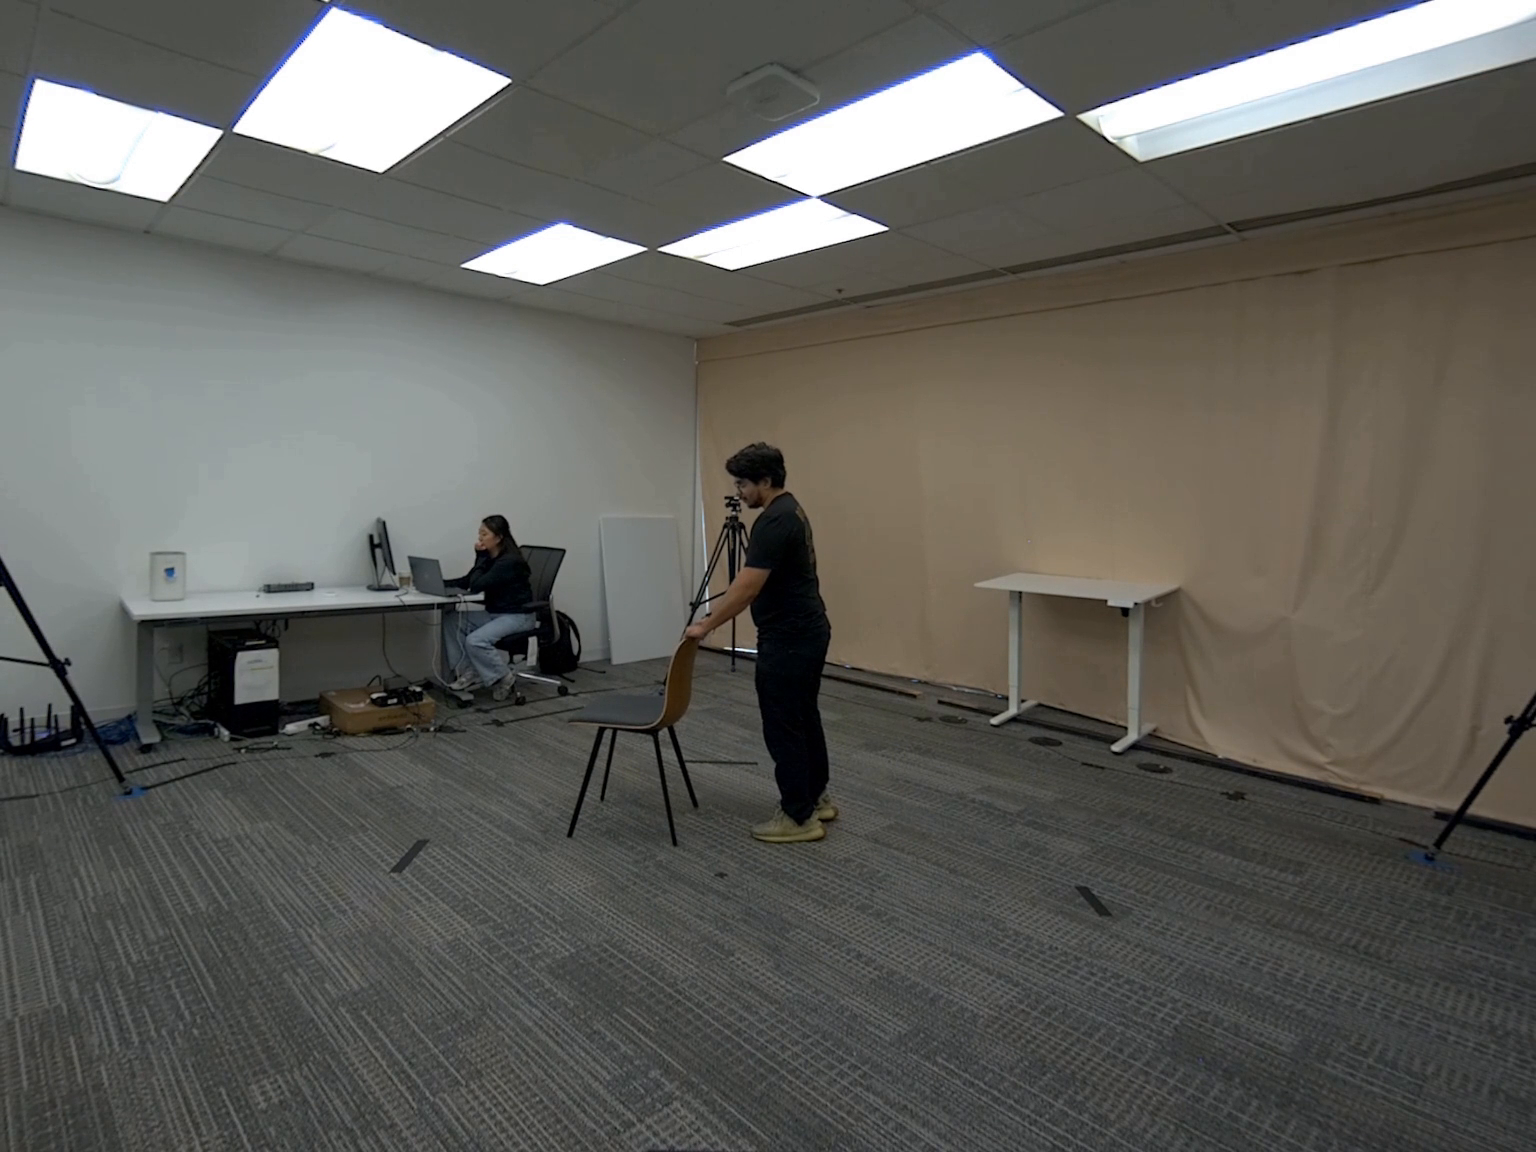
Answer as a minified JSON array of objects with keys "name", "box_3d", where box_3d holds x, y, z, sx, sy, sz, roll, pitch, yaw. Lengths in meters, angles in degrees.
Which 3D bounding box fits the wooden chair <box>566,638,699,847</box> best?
[{"name":"wooden chair","box_3d":[-0.565,0.622,3.562,0.526,0.875,0.476,6,4,7]}]
